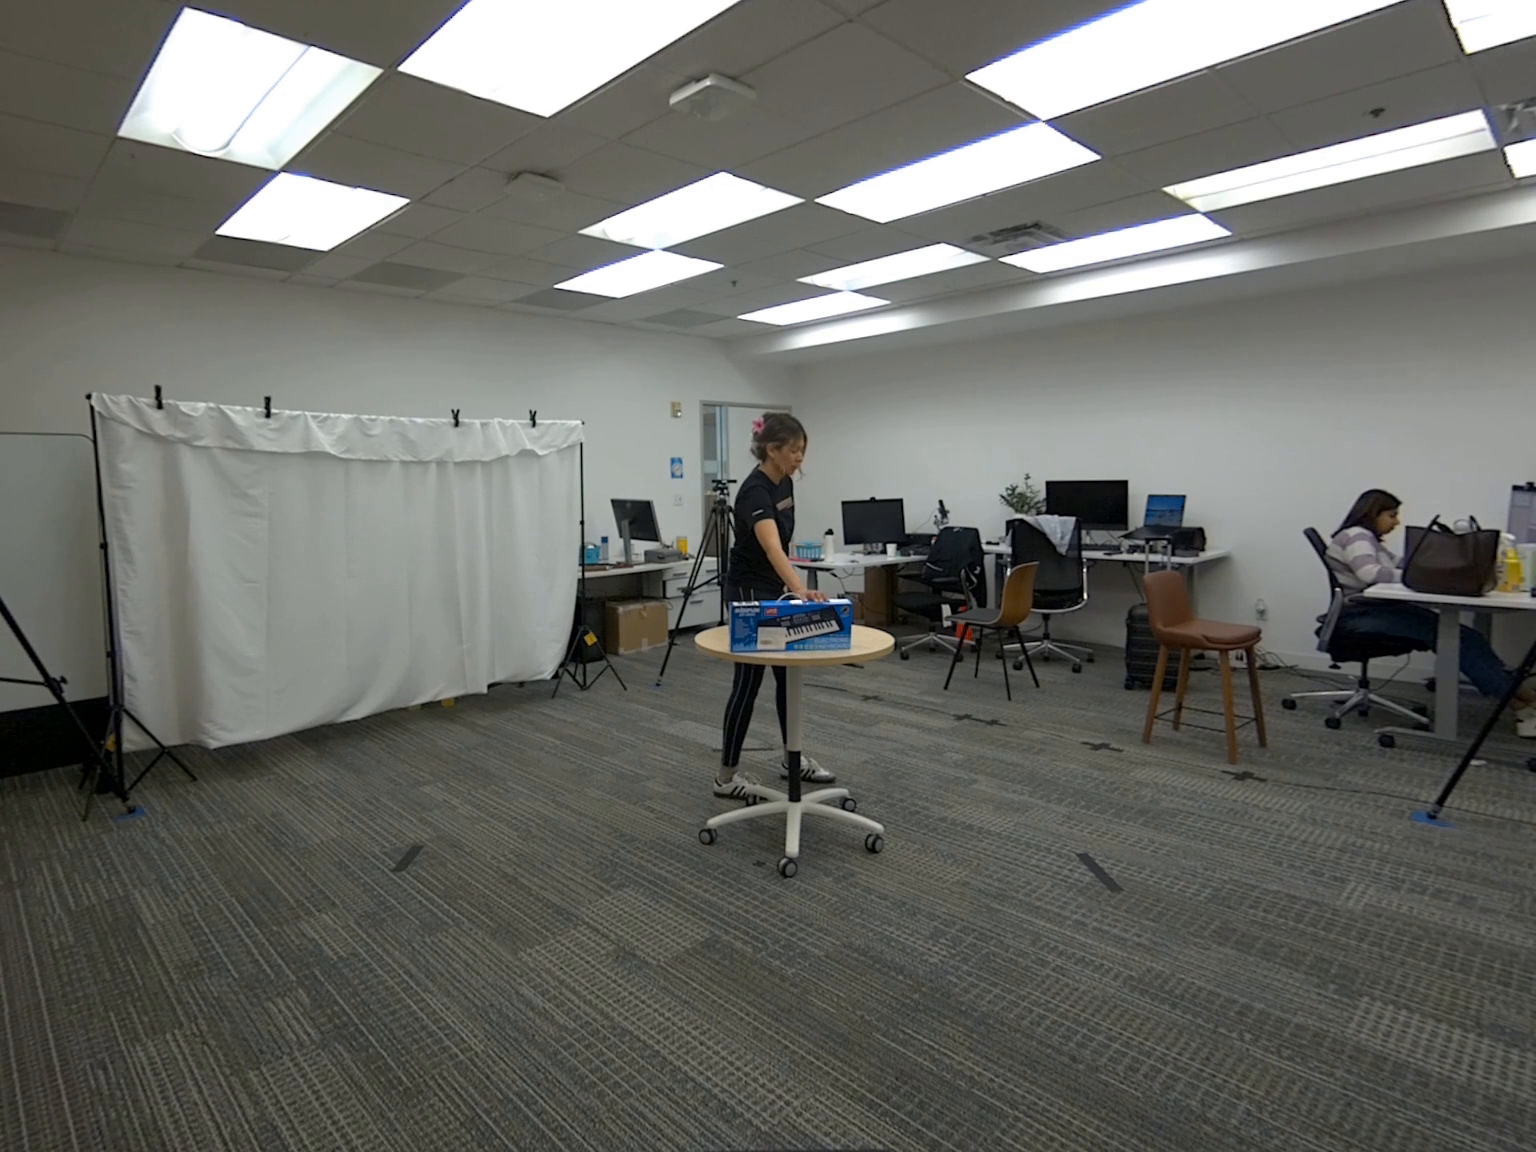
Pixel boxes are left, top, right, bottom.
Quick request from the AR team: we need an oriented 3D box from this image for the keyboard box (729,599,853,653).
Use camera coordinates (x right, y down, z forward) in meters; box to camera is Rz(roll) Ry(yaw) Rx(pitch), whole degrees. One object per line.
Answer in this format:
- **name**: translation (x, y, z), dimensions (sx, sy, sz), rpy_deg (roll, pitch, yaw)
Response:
- **keyboard box**: translation (0.080, 0.183, 3.060), dimensions (0.434, 0.174, 0.060), rpy_deg (-1, 9, -7)
